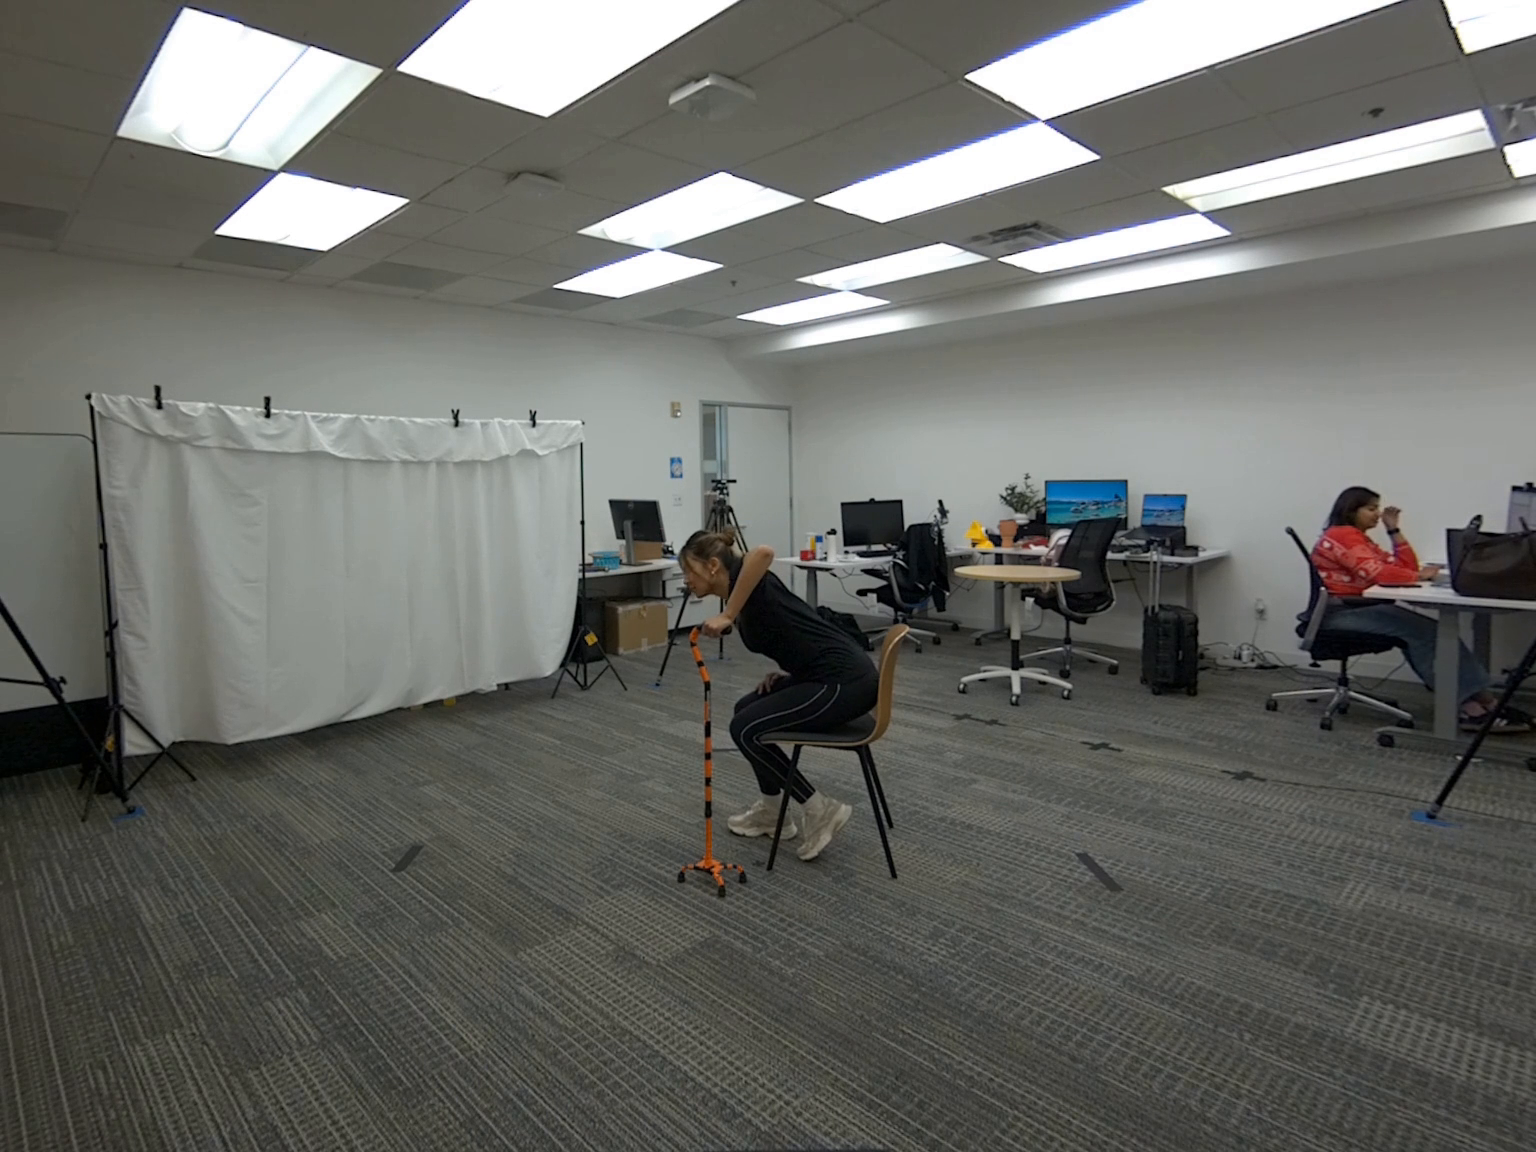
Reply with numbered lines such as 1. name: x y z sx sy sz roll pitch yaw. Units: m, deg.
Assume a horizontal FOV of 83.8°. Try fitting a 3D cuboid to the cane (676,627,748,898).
1. cane: -0.194 0.618 2.949 0.212 0.905 0.147 3 4 37
